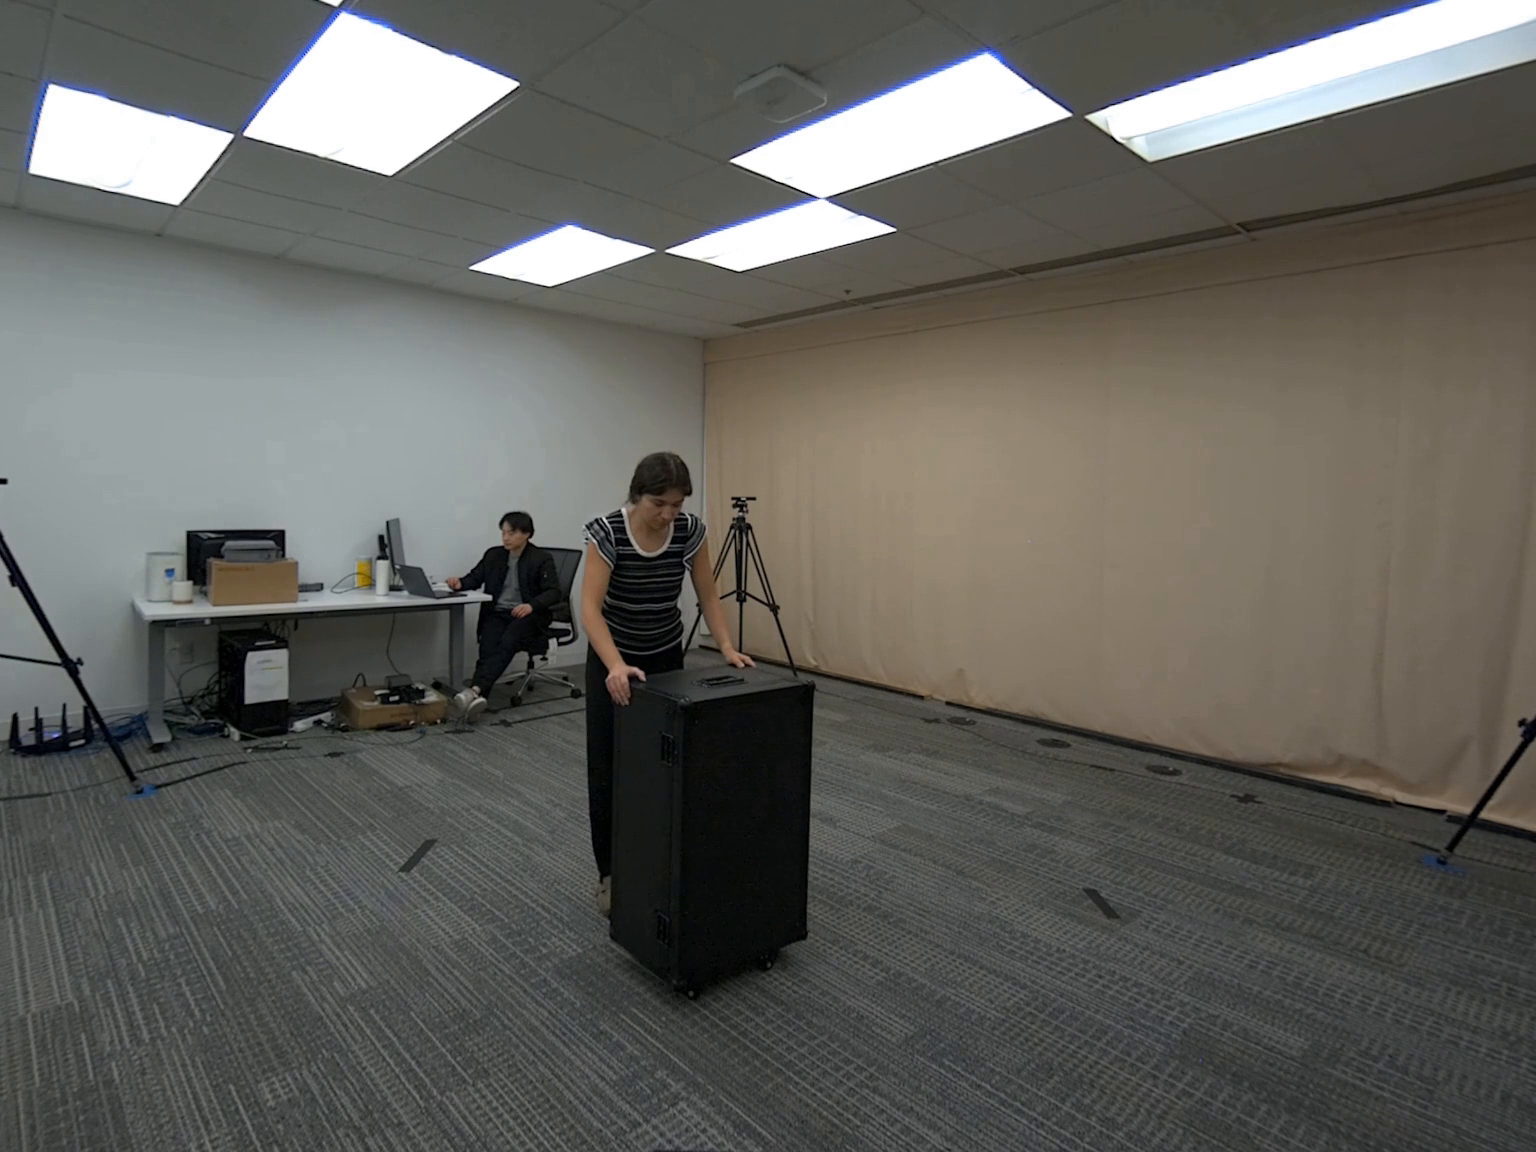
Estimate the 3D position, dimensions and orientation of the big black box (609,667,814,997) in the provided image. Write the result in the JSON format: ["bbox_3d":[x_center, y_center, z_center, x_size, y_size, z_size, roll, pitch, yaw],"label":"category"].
[{"bbox_3d":[-0.179,0.734,2.511,0.509,0.860,0.406,-1,3,-40],"label":"big black box"}]
